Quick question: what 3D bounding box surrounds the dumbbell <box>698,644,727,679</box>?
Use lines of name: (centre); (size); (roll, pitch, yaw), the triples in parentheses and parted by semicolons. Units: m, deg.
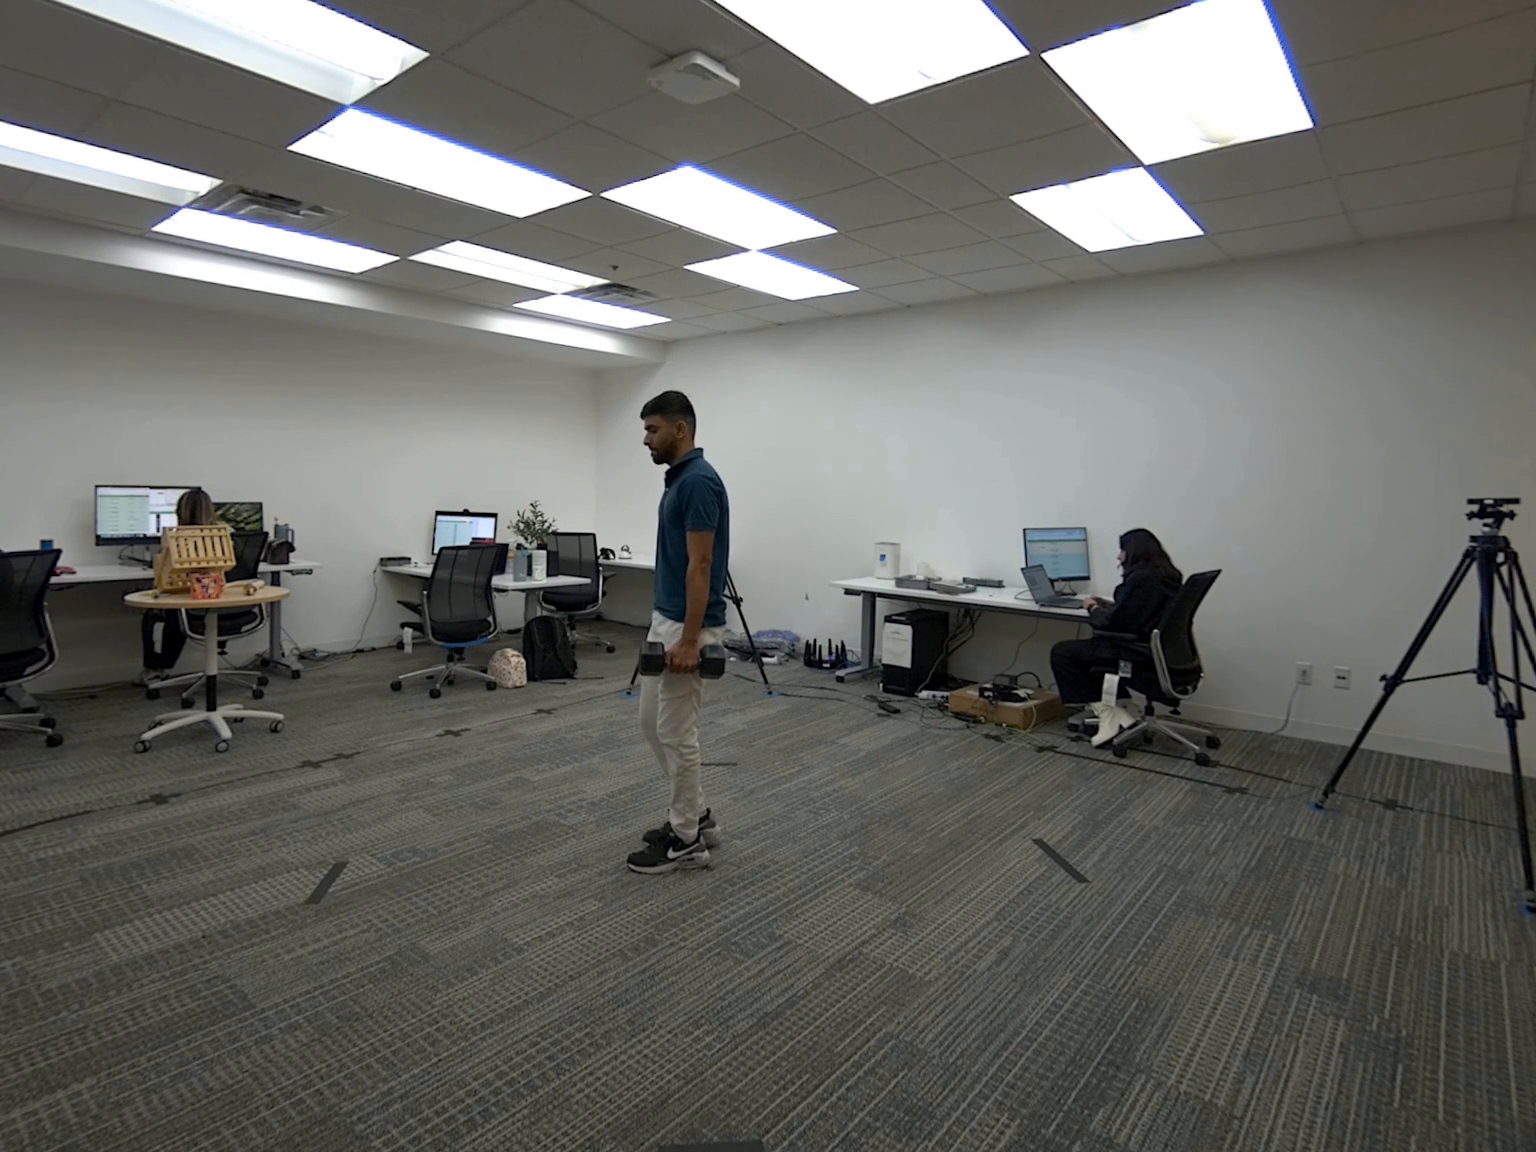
dumbbell: (-0.308, 0.286, 2.943); (0.290, 0.122, 0.111); (4, 6, -12)
